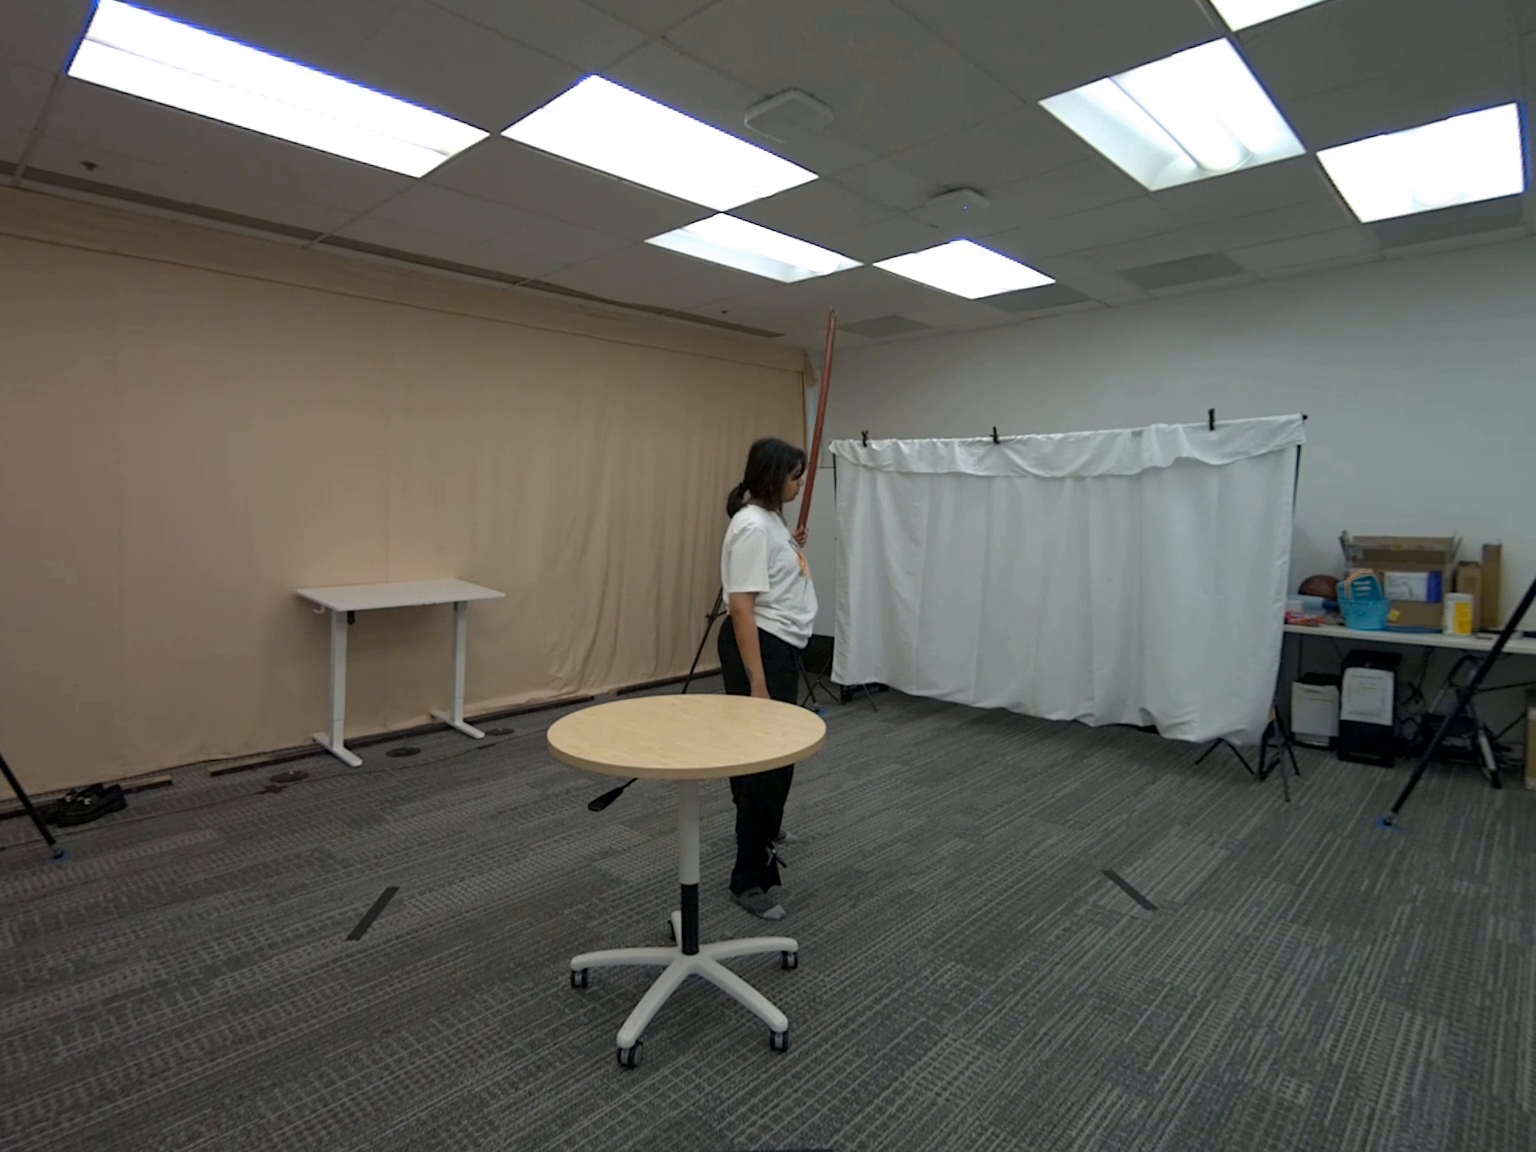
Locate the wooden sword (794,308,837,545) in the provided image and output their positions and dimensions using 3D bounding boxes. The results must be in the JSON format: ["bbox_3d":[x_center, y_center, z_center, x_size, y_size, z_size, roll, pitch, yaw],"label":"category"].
[{"bbox_3d":[0.214,-0.595,3.447,0.023,1.025,0.053,9,0,-34],"label":"wooden sword"}]
